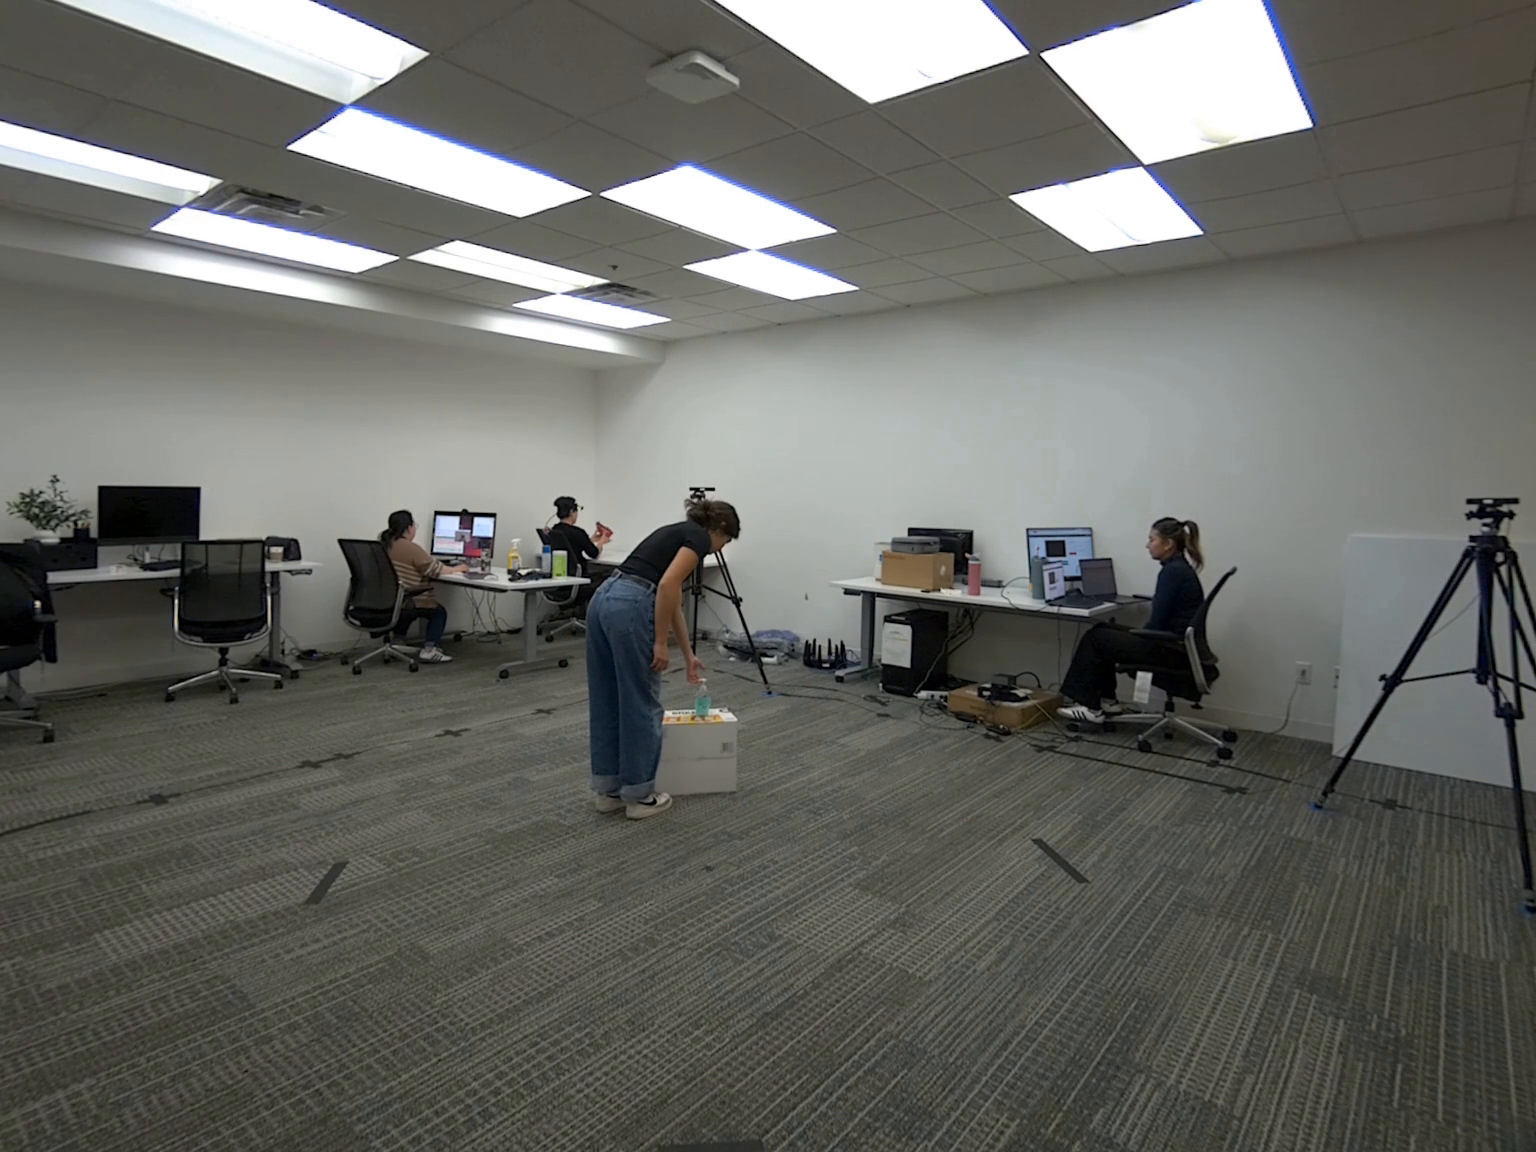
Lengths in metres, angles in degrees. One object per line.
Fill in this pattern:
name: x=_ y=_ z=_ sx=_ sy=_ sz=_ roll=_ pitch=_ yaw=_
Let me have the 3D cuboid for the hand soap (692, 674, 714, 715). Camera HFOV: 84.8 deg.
hand soap: x=-0.308 y=0.555 z=3.961 sx=0.082 sy=0.168 sz=0.045 roll=-1 pitch=4 yaw=-36
